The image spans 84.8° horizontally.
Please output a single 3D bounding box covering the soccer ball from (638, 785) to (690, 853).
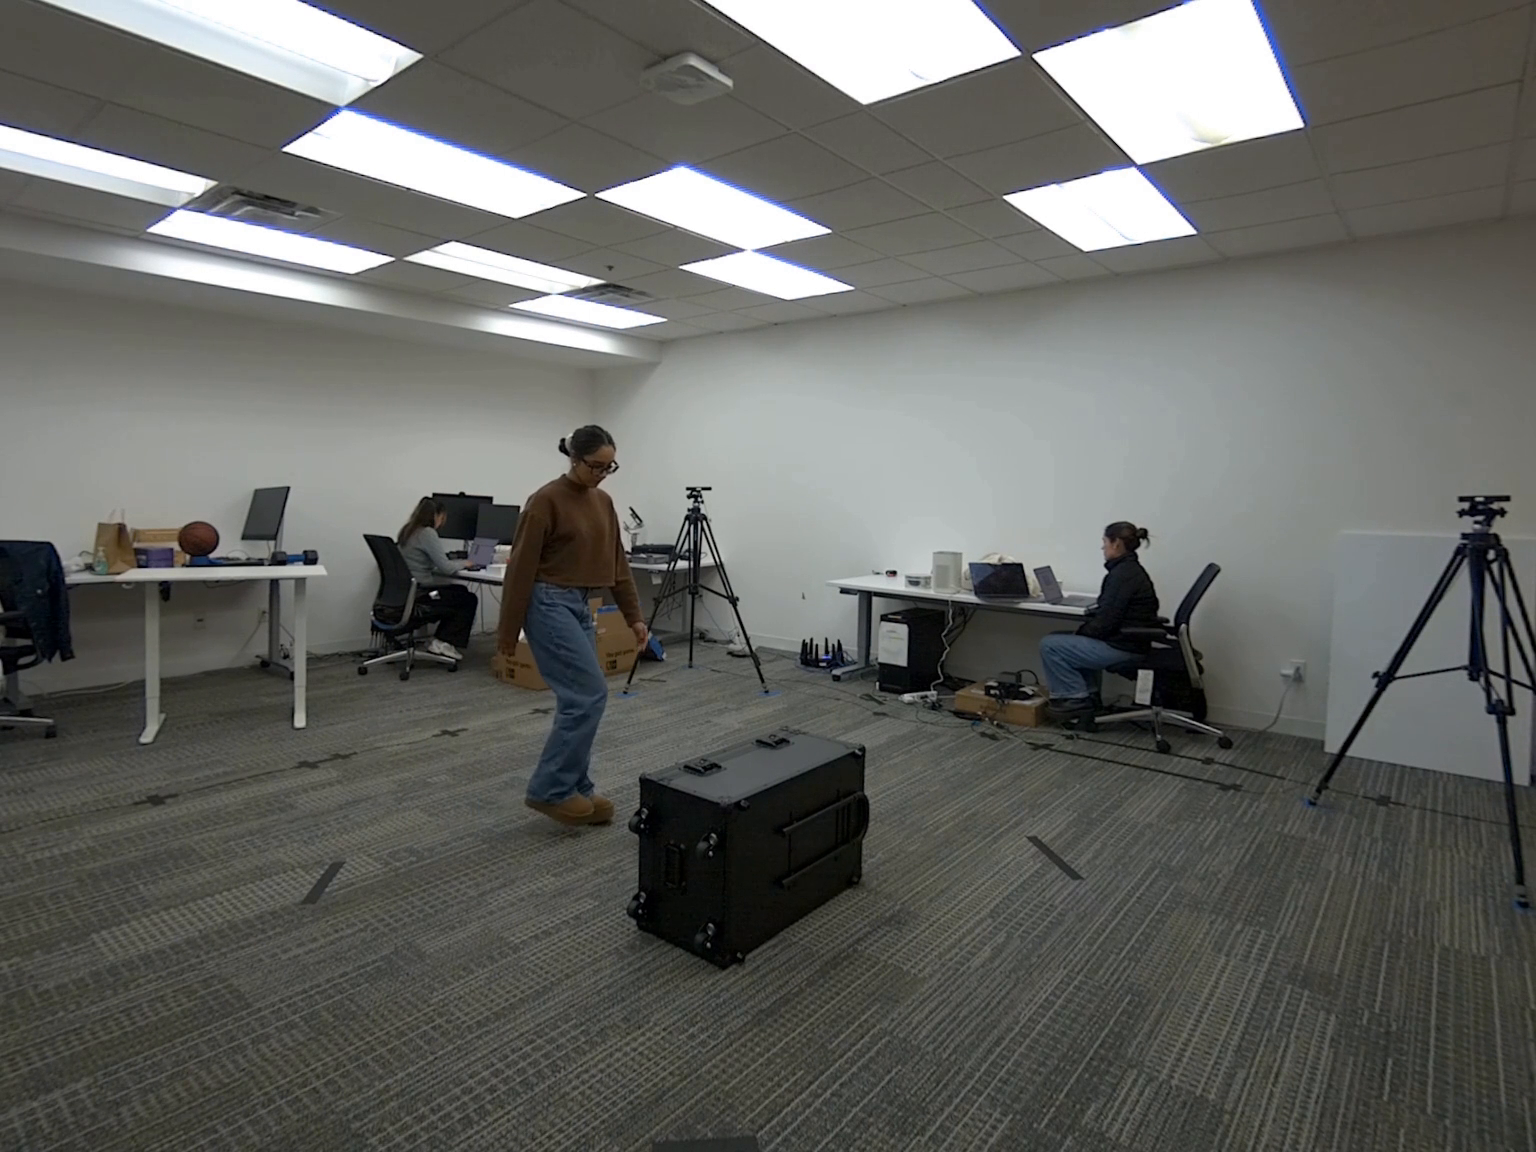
[{"bbox_3d":[-0.405,0.944,3.286,0.187,0.187,0.188,1,4,-2],"label":"soccer ball"}]
